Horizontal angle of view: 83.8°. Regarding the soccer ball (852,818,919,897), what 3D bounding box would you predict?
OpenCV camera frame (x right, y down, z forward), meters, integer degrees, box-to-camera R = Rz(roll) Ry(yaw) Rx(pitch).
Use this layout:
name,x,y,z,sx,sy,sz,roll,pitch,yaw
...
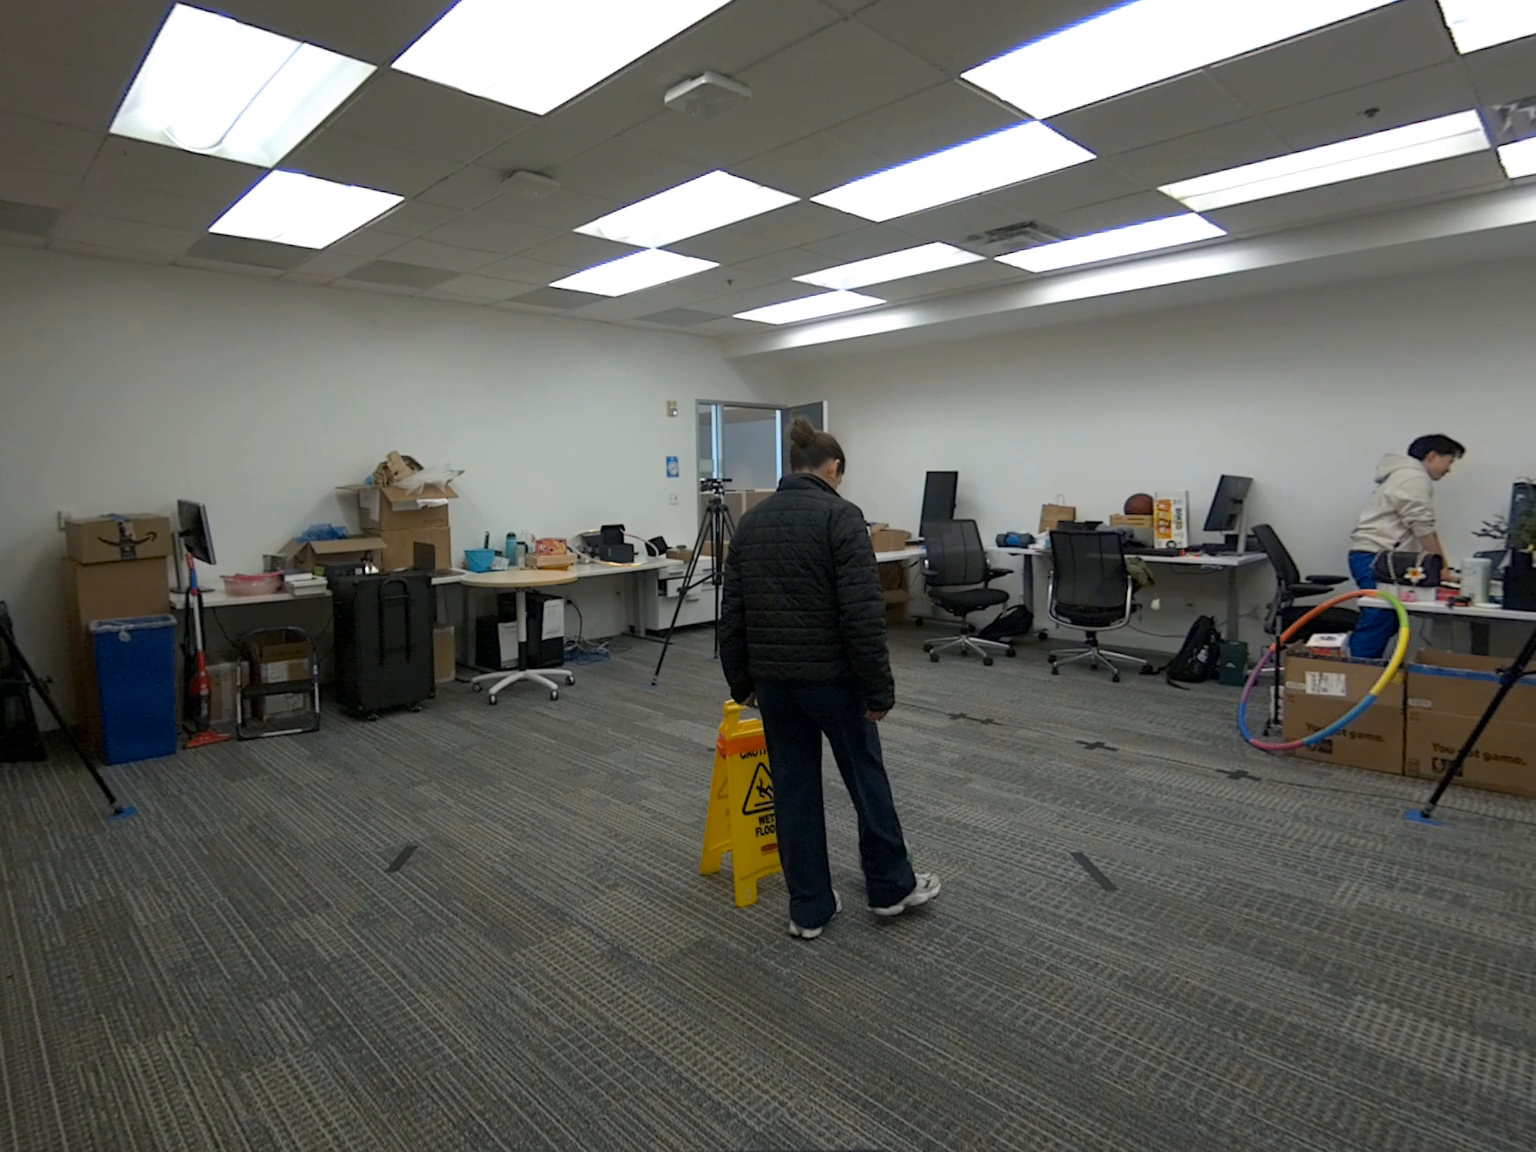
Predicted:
name,x,y,z,sx,sy,sz,roll,pitch,yaw
soccer ball,0.397,0.954,2.920,0.187,0.187,0.188,-1,5,-2
